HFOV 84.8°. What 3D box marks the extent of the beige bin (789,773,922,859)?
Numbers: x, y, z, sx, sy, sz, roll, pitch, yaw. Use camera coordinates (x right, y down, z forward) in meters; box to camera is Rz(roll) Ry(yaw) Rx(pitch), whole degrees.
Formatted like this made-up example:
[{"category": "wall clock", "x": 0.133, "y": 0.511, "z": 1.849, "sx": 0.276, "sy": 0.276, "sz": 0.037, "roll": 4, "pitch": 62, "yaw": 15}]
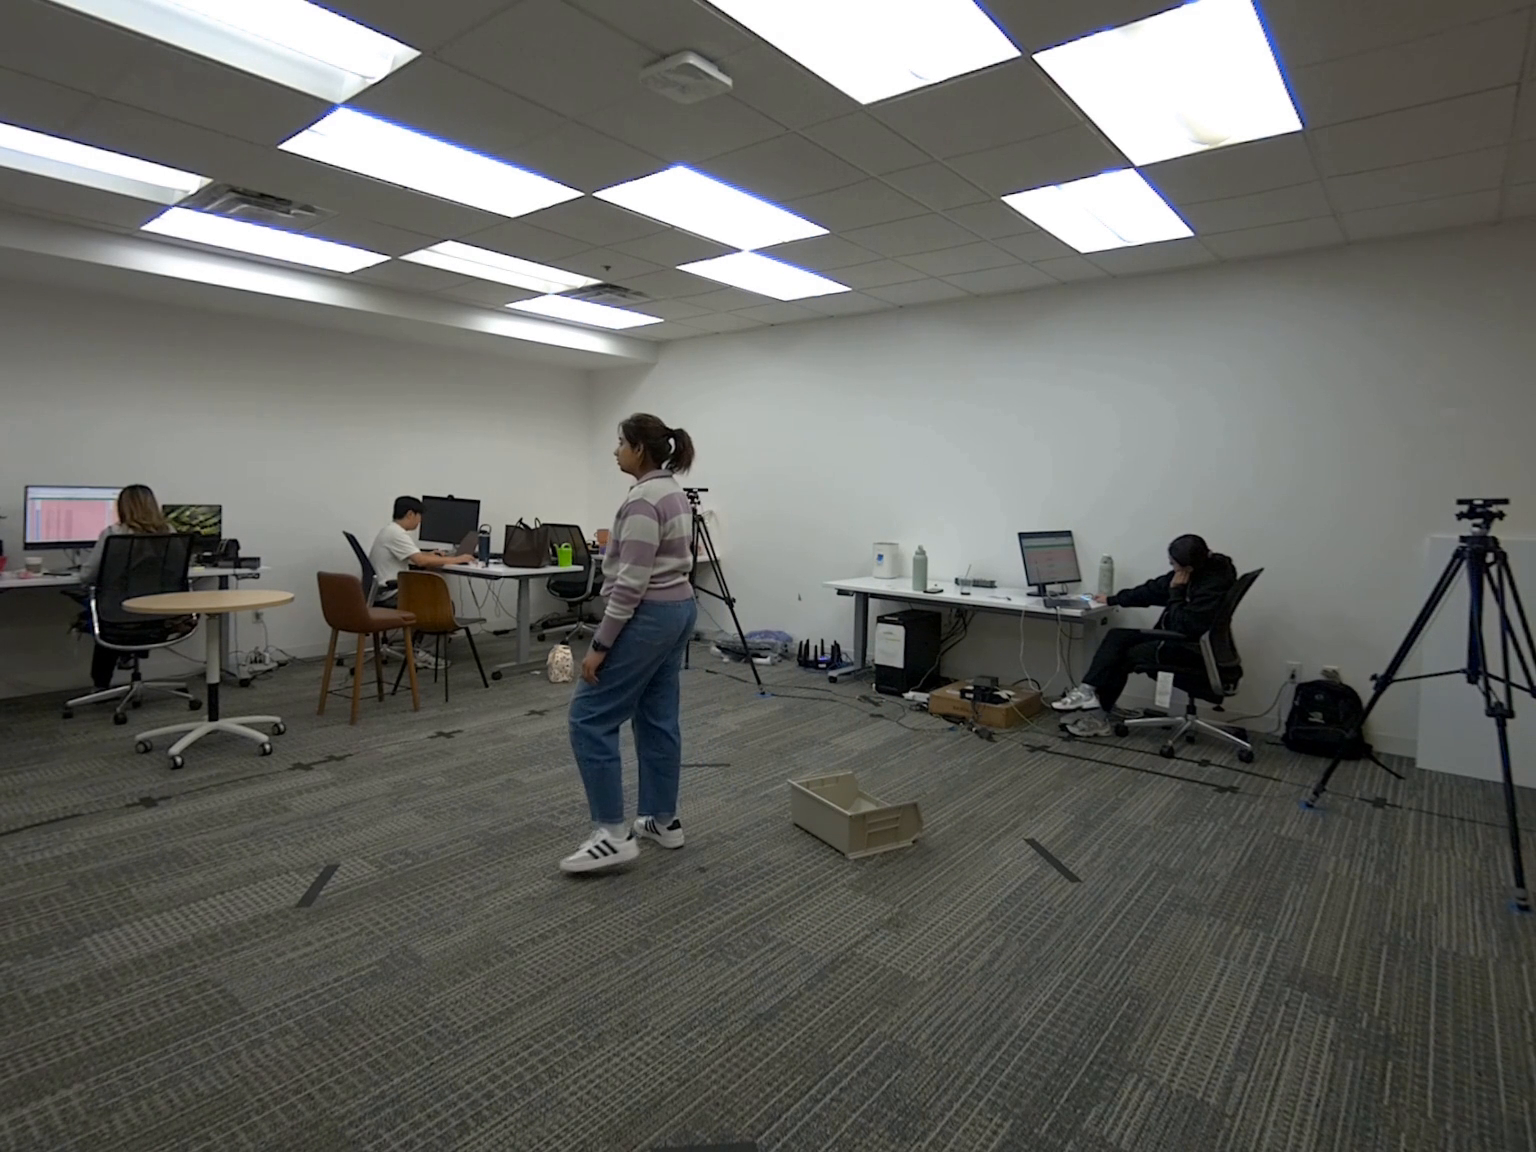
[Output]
[{"category": "beige bin", "x": 0.341, "y": 0.961, "z": 3.470, "sx": 0.367, "sy": 0.188, "sz": 0.436, "roll": -3, "pitch": 7, "yaw": -31}]
